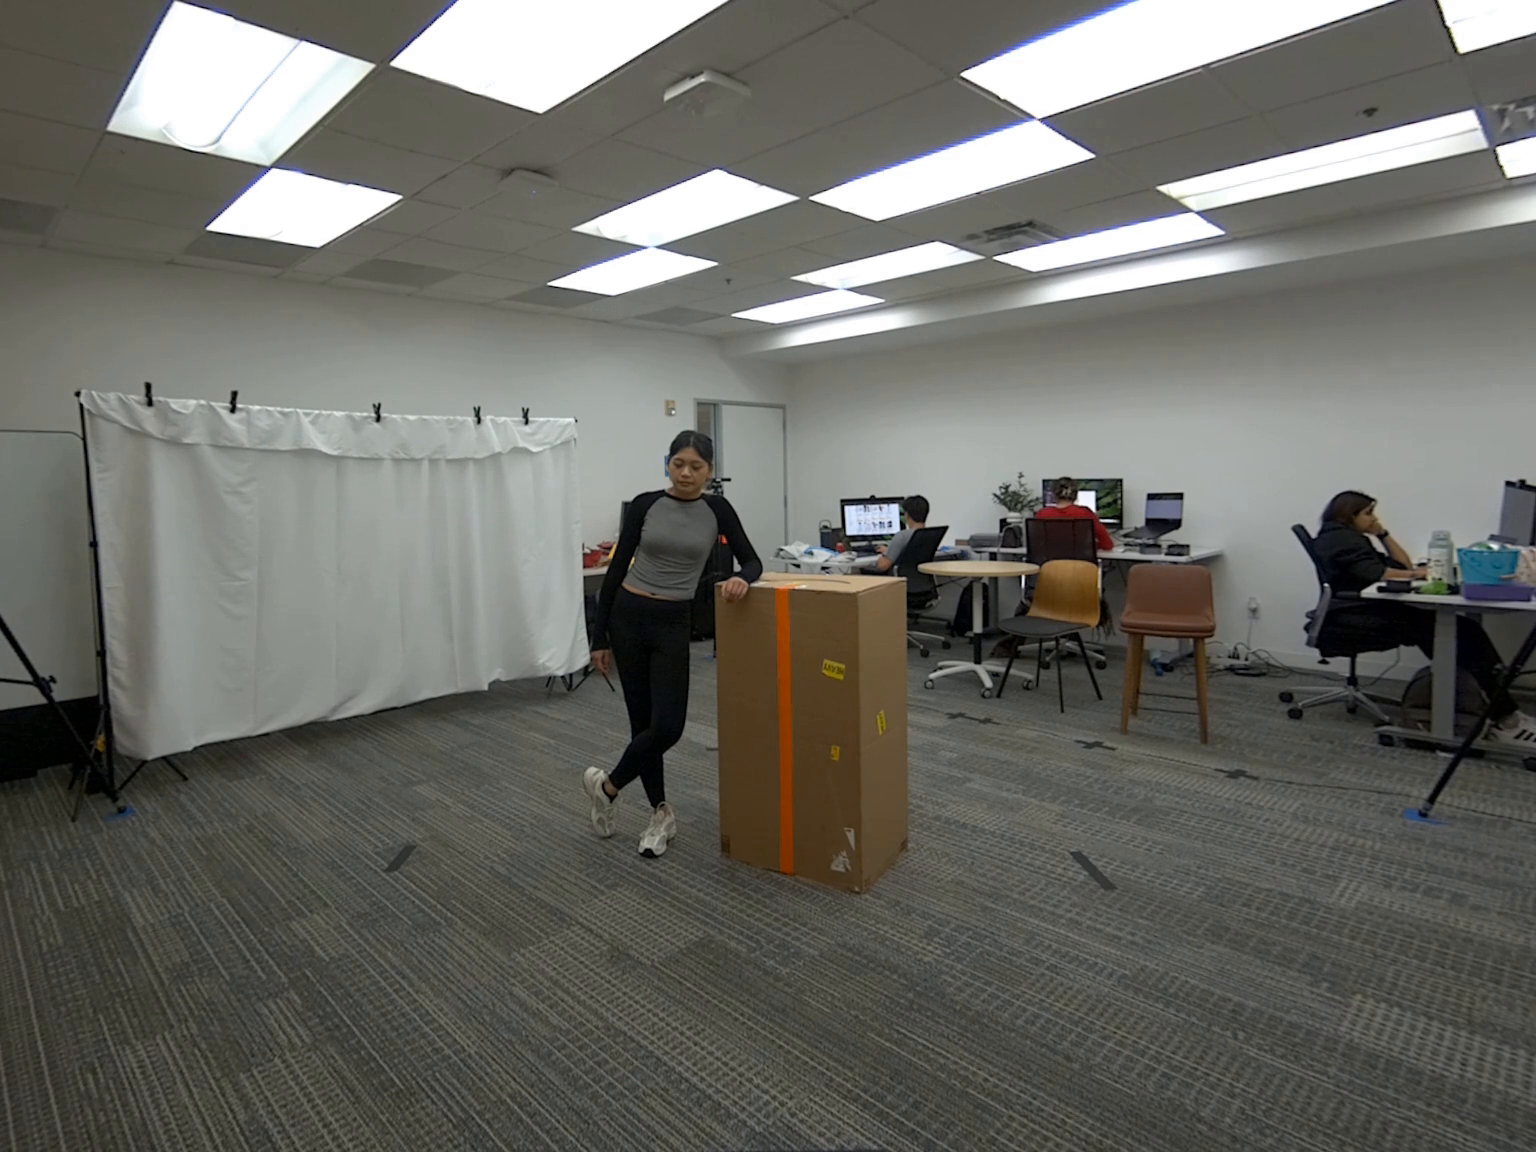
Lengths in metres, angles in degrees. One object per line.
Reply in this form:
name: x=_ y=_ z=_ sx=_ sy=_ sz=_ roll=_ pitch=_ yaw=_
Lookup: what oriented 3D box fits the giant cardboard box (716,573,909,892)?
giant cardboard box: x=0.168 y=0.524 z=3.151 sx=0.593 sy=1.022 sz=0.416 roll=1 pitch=4 yaw=33
